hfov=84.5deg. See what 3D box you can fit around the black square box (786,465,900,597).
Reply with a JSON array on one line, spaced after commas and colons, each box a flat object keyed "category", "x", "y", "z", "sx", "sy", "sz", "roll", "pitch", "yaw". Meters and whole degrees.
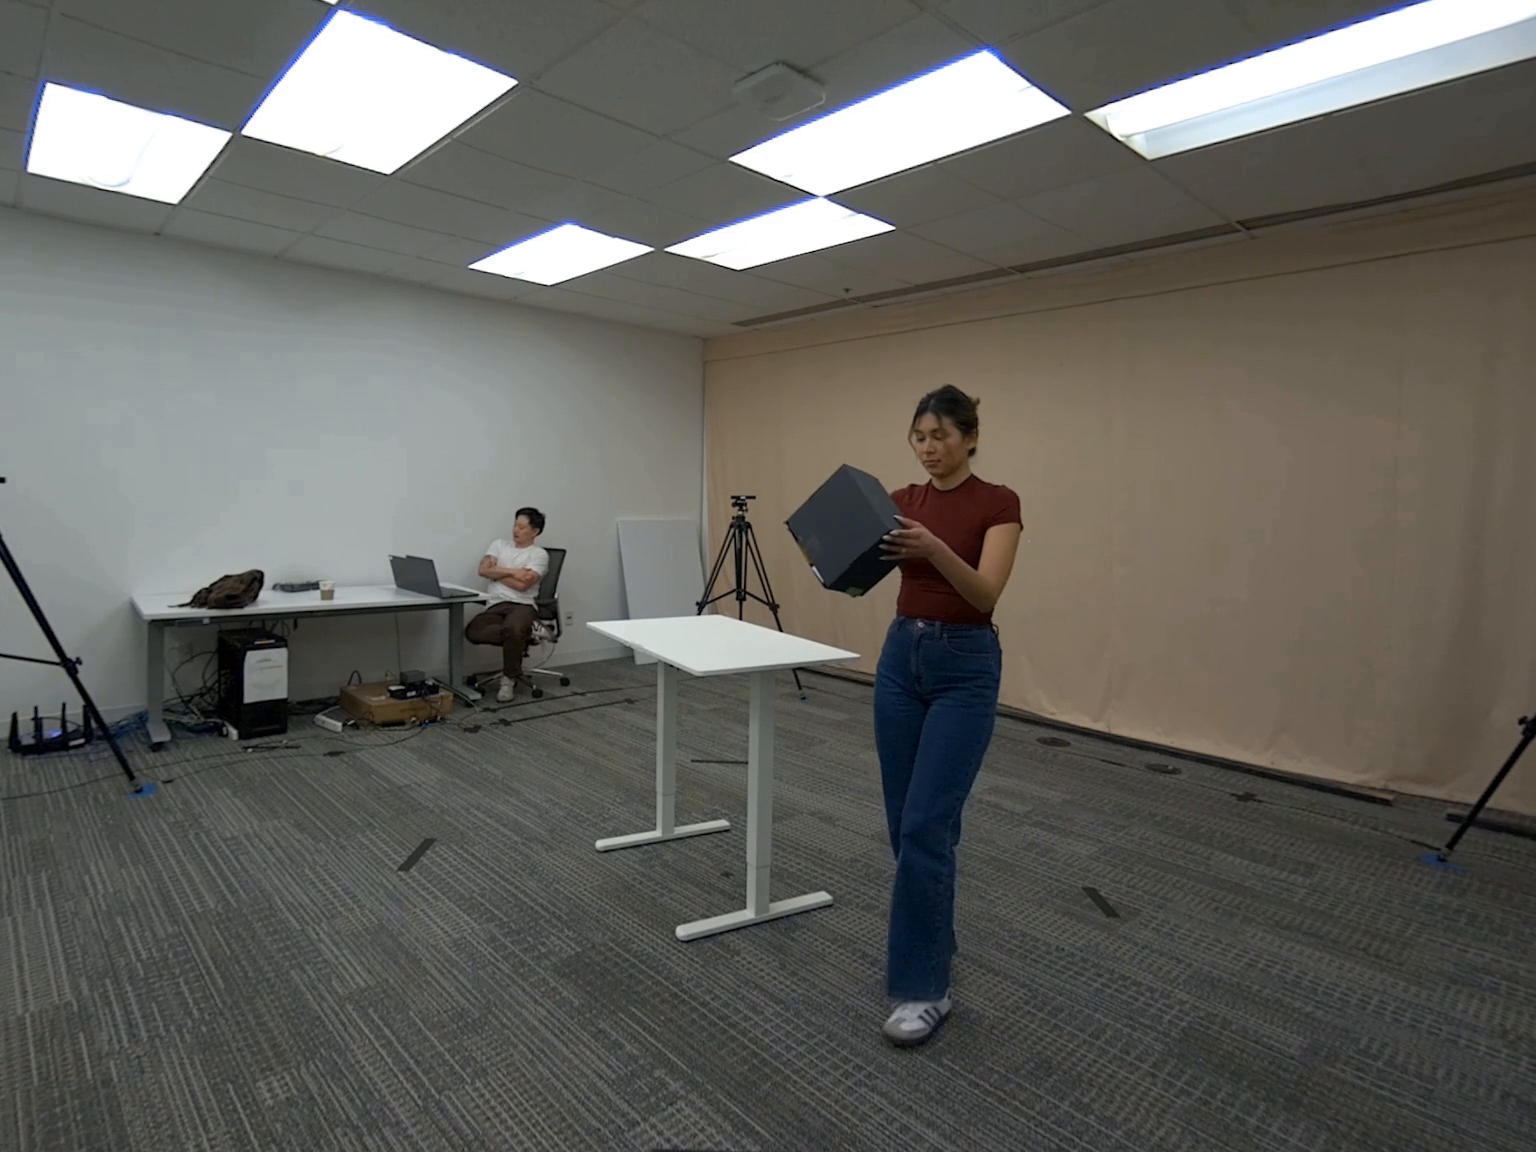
[{"category": "black square box", "x": 0.204, "y": -0.109, "z": 2.084, "sx": 0.217, "sy": 0.234, "sz": 0.151, "roll": -44, "pitch": -35, "yaw": 25}]
